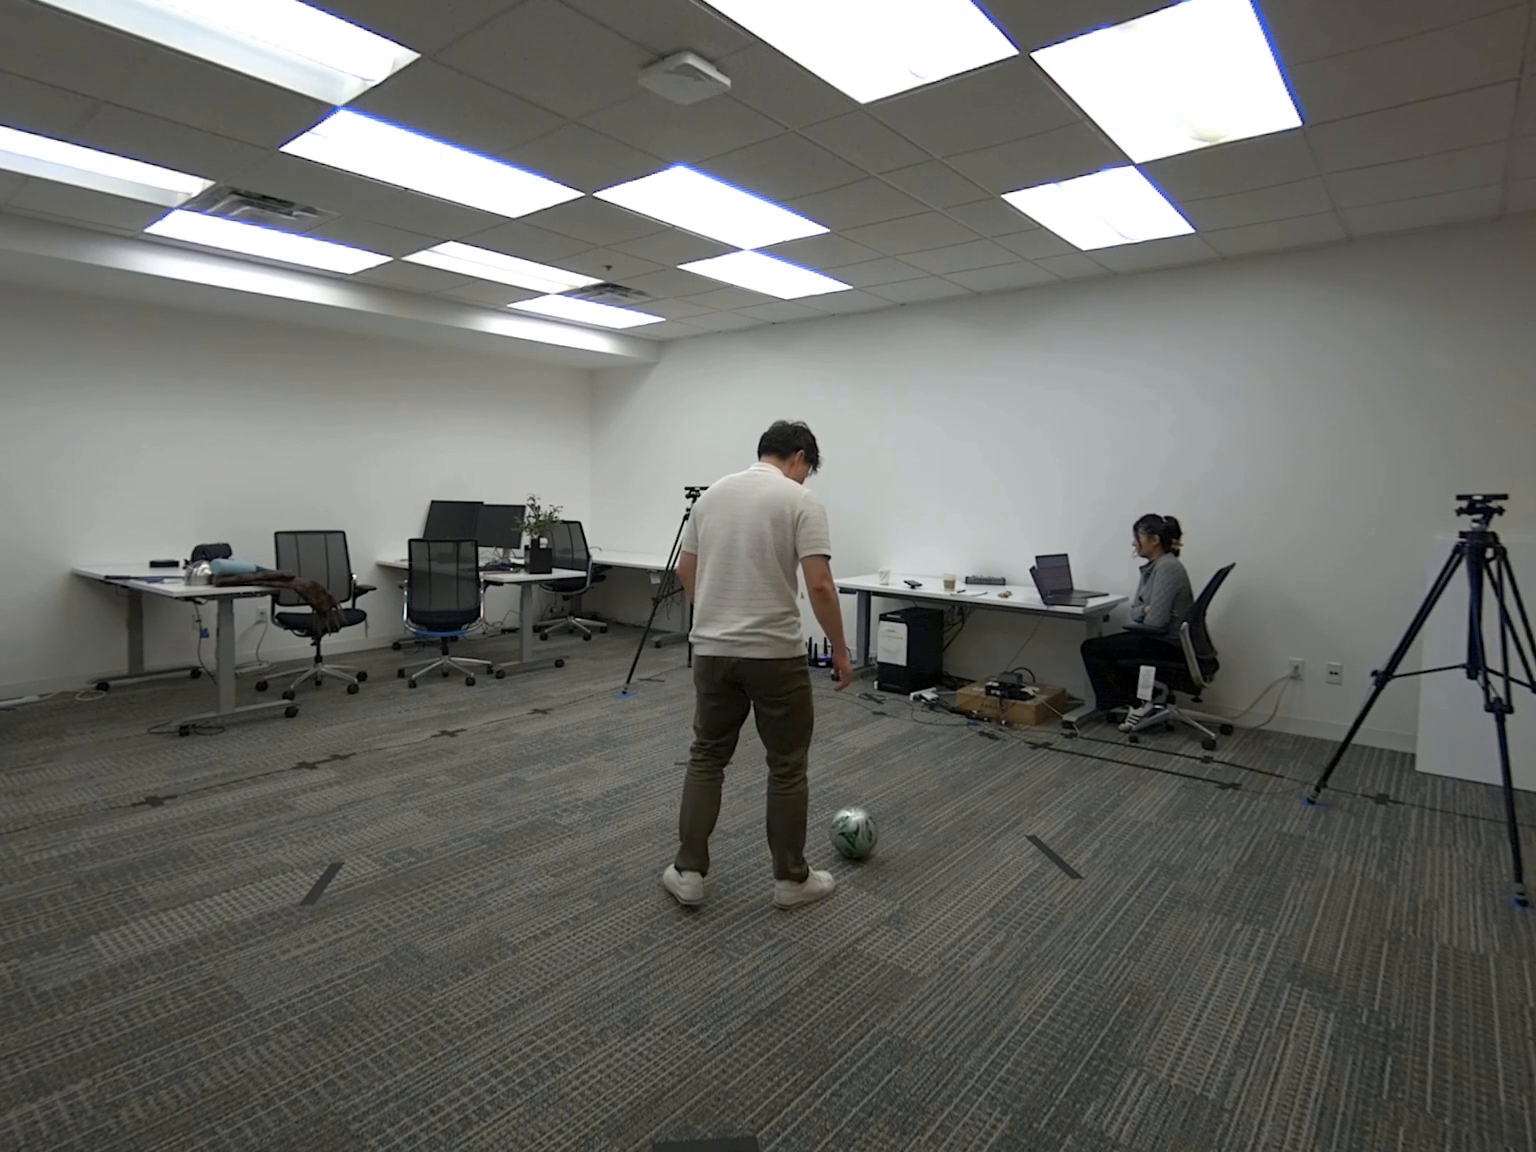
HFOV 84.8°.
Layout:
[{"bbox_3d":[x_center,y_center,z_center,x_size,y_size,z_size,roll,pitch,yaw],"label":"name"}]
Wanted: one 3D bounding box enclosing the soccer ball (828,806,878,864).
[{"bbox_3d":[0.317,0.977,3.226,0.187,0.187,0.188,1,4,-2],"label":"soccer ball"}]
